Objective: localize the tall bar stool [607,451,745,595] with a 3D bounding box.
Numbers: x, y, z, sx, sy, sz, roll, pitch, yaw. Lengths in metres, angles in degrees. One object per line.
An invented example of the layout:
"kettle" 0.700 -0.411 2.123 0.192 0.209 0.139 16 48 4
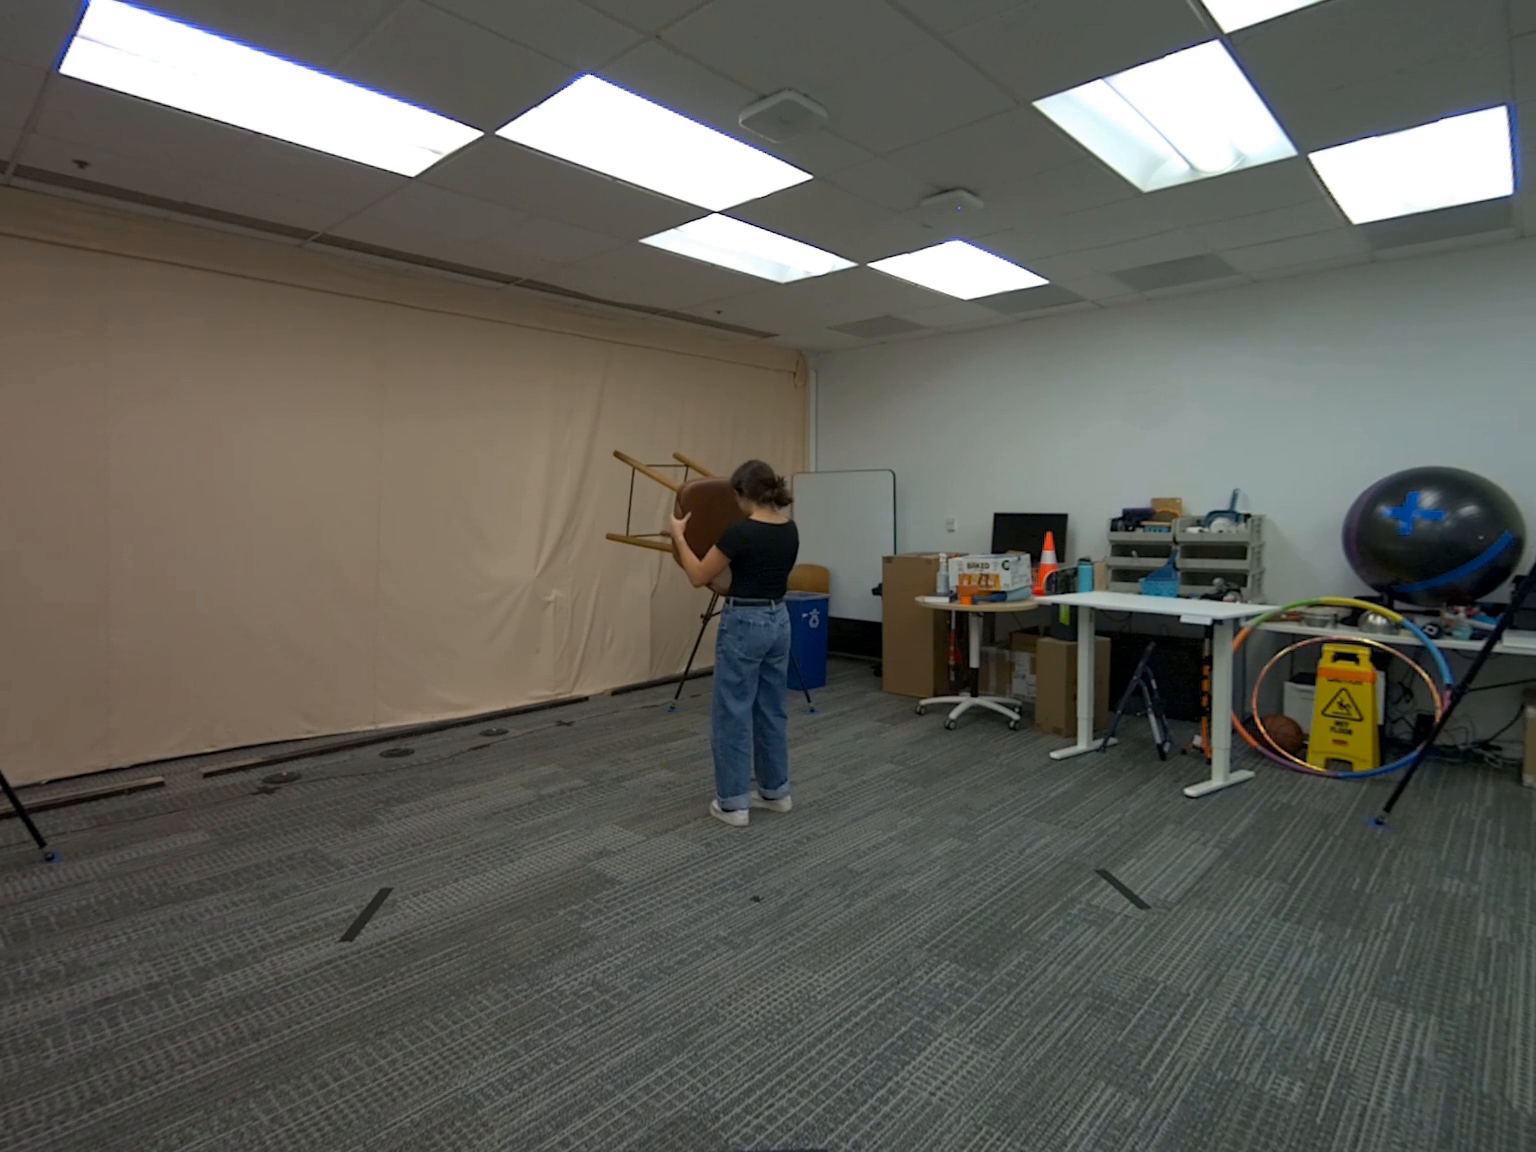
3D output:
"tall bar stool" -0.357 -0.274 4.023 0.443 0.464 0.923 -5 23 -44
